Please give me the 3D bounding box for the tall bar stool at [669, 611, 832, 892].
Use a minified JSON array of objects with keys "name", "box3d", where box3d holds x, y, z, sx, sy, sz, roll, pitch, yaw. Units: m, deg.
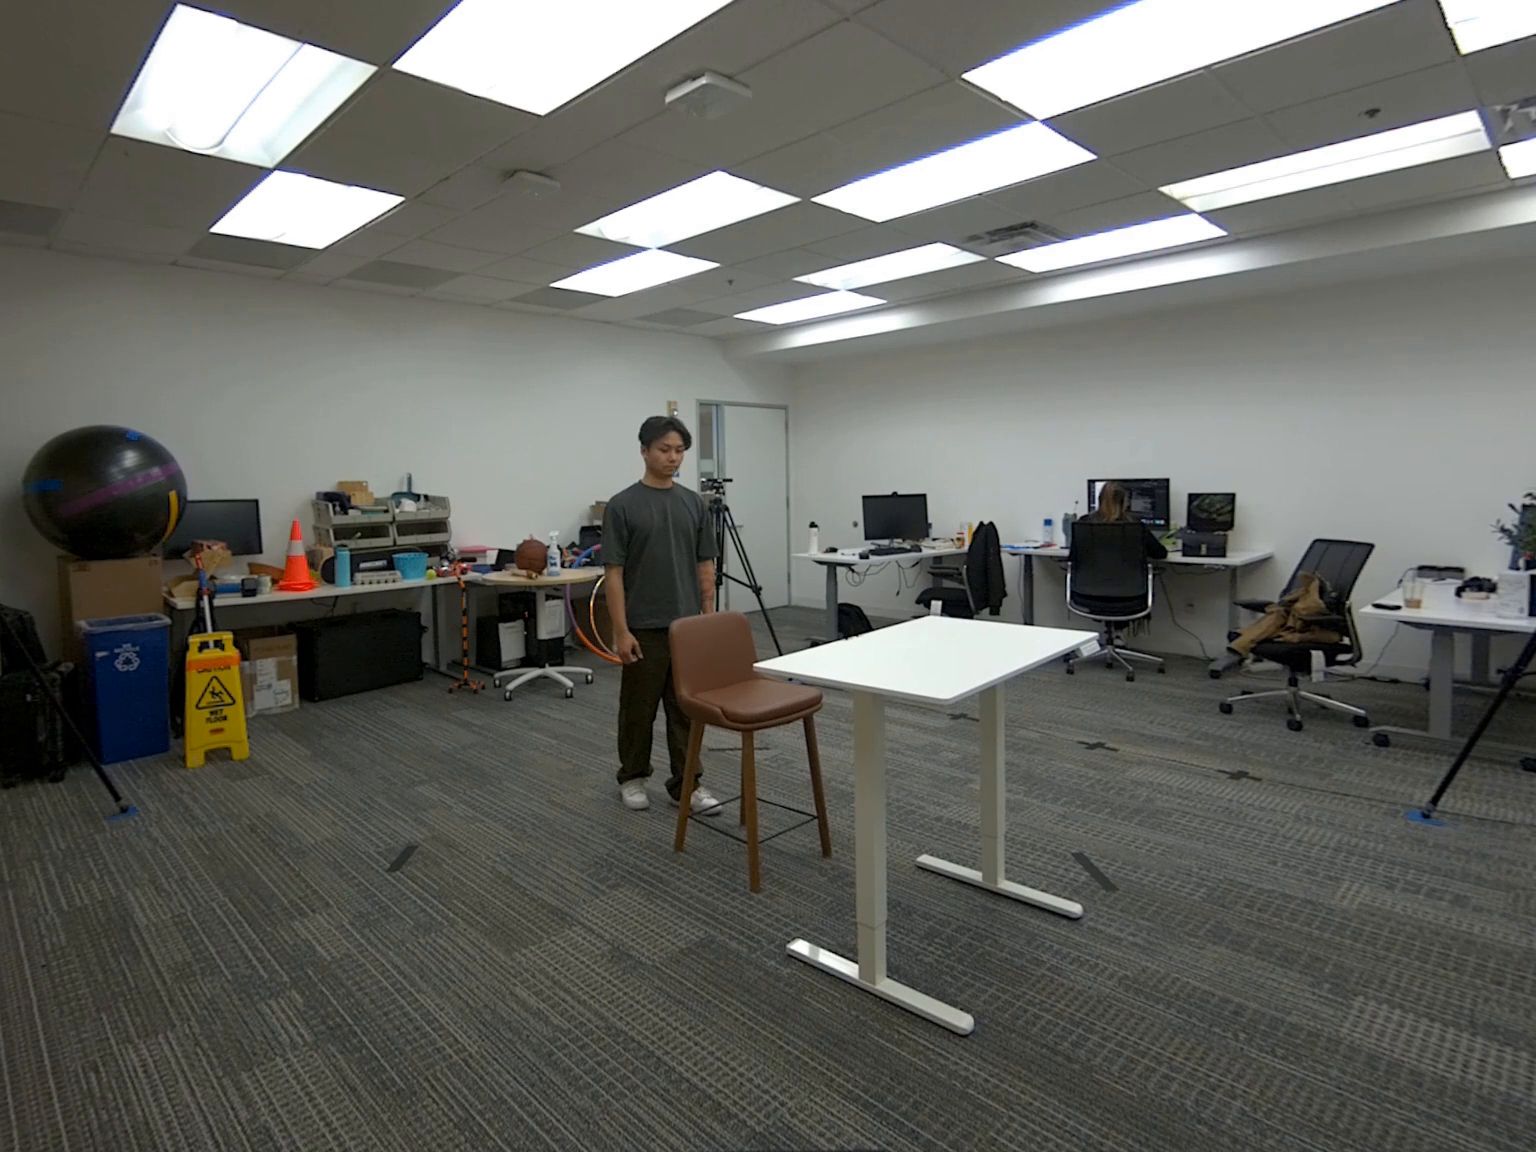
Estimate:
[{"name":"tall bar stool","box3d":[-0.077,0.600,3.171,0.444,0.888,0.481,-4,4,-44]}]
